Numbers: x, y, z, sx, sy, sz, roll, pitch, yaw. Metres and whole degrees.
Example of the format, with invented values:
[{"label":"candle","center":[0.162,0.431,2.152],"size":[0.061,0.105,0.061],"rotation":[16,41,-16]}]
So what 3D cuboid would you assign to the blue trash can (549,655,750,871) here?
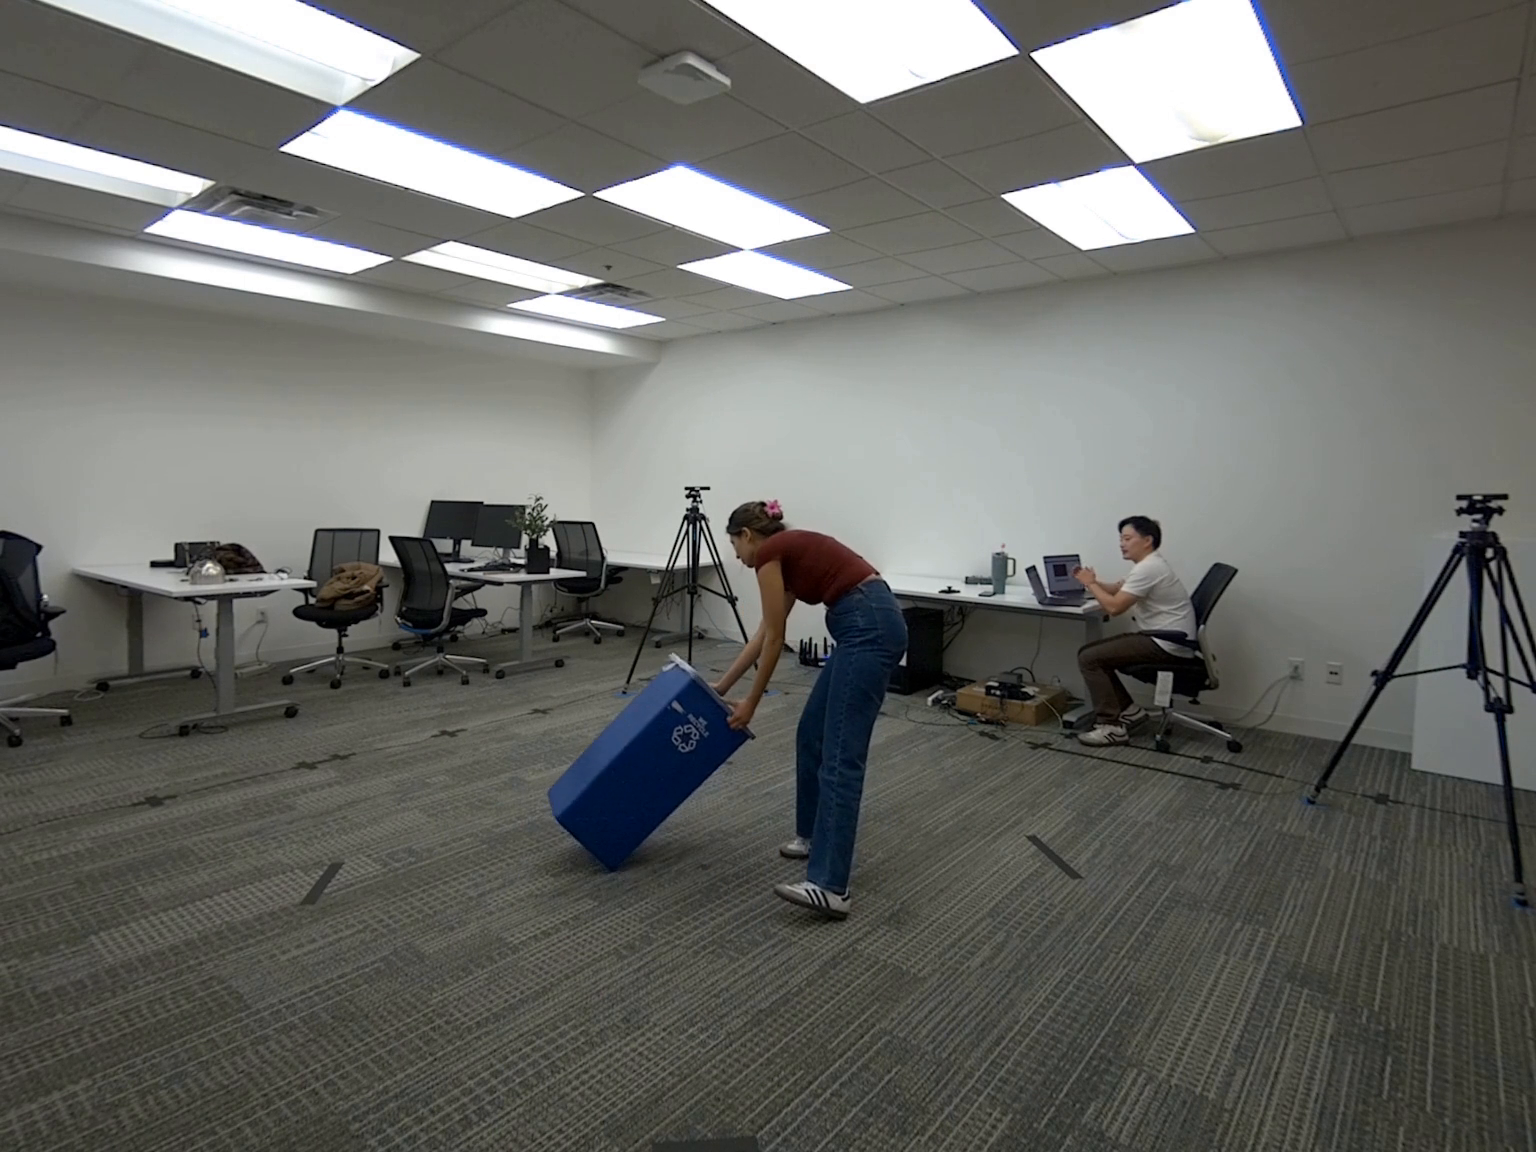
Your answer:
[{"label":"blue trash can","center":[-0.453,0.699,3.228],"size":[0.713,0.366,0.387],"rotation":[-46,17,-10]}]
